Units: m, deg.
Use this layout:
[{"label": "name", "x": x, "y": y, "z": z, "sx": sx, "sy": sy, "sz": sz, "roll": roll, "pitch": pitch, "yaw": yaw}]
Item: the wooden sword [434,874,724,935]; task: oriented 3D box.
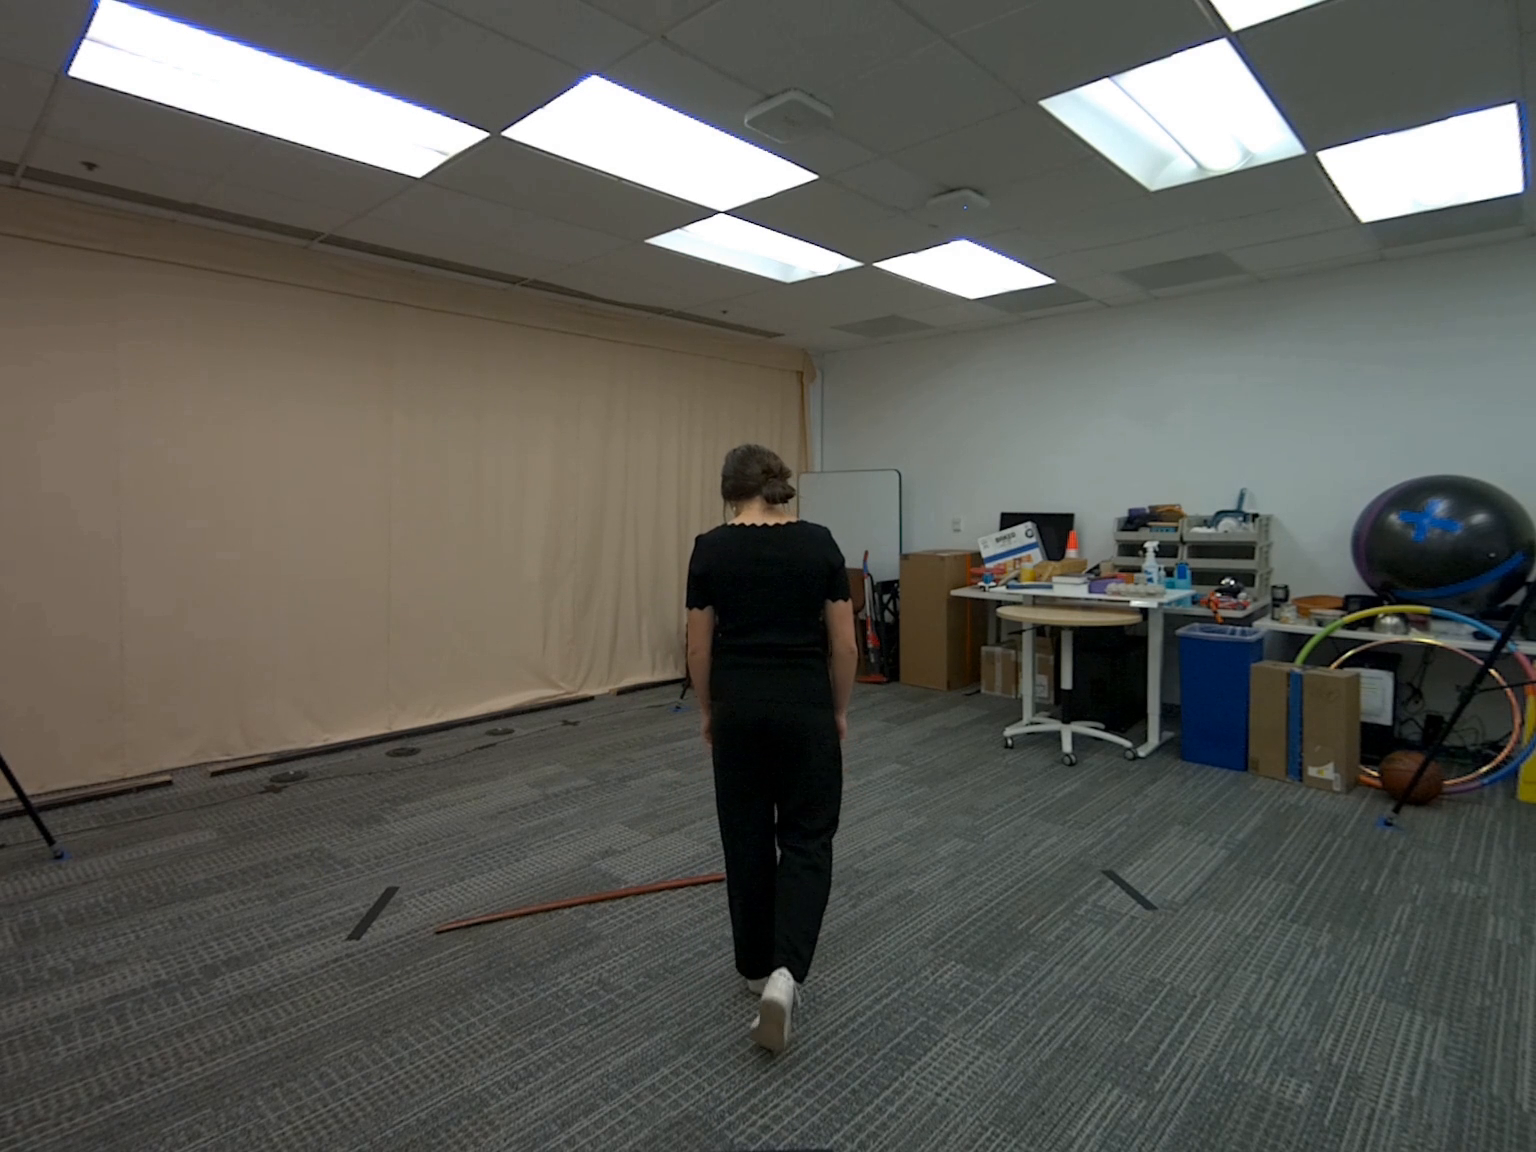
[{"label": "wooden sword", "x": -0.634, "y": 1.139, "z": 2.957, "sx": 1.003, "sy": 0.051, "sz": 0.025, "roll": -2, "pitch": 29, "yaw": -21}]
